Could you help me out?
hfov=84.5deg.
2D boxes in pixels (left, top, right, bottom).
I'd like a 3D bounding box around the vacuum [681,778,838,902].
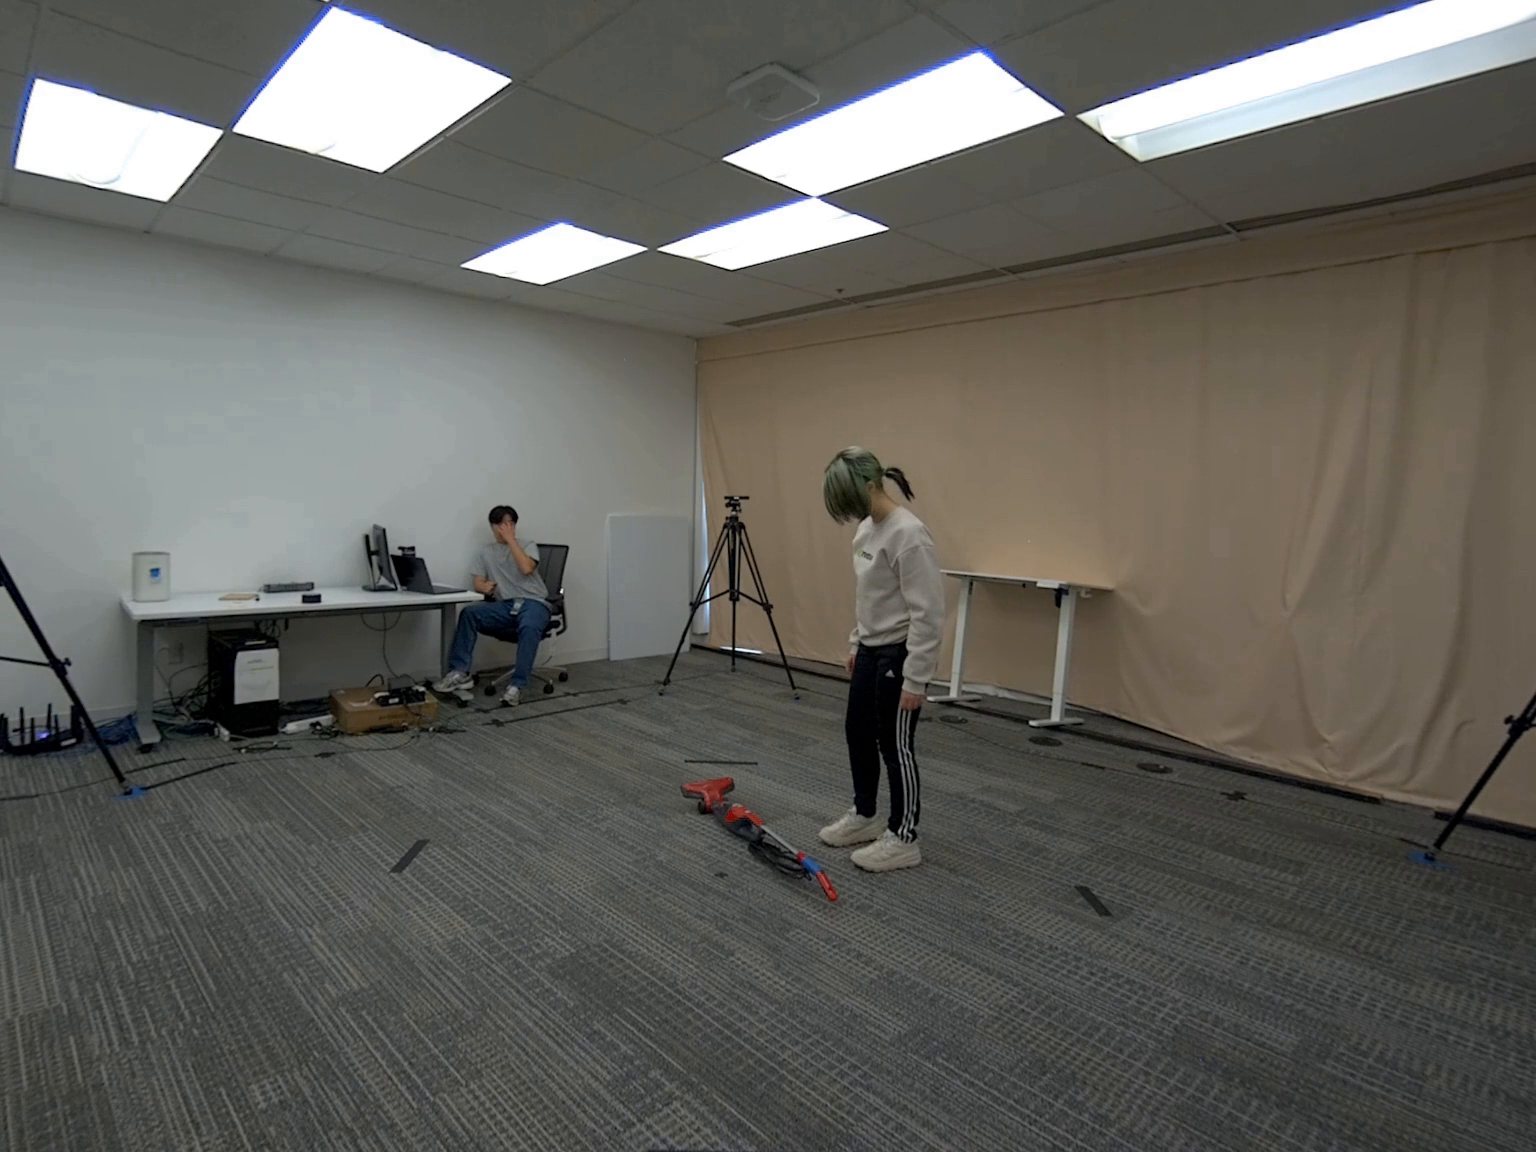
[{"bbox_3d":[-0.027,1.027,3.297,0.248,0.143,1.072,0,6,-27],"label":"vacuum"}]
